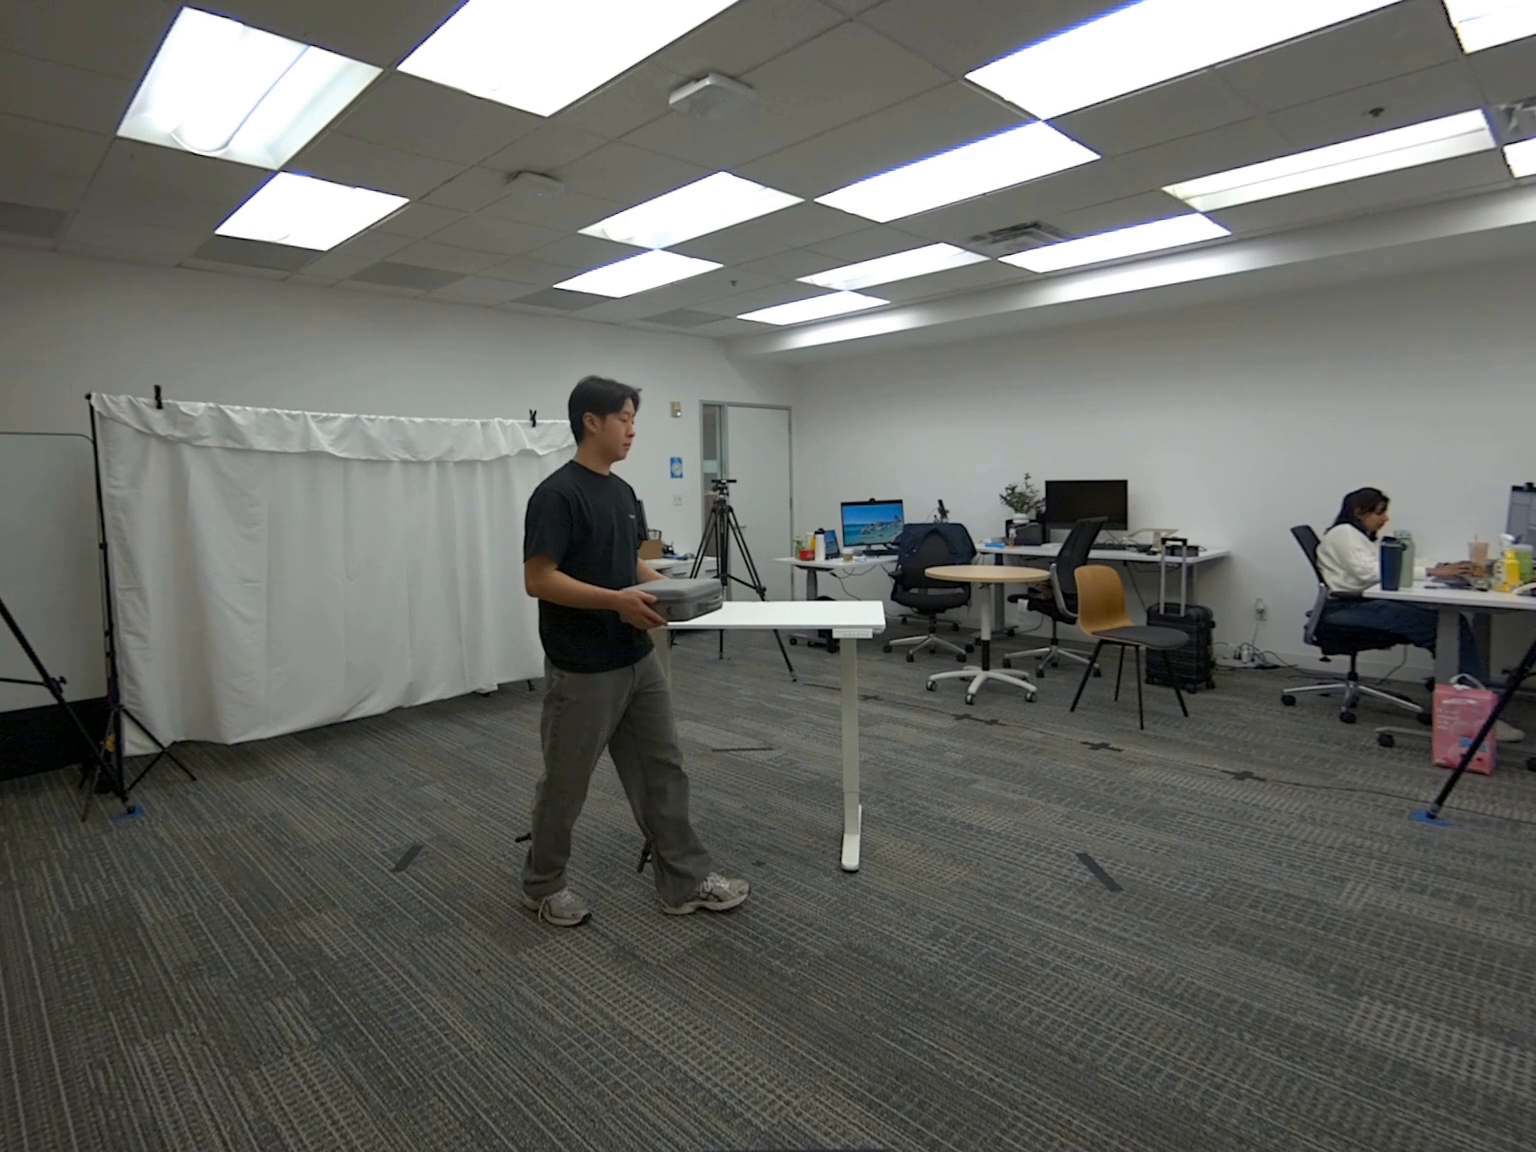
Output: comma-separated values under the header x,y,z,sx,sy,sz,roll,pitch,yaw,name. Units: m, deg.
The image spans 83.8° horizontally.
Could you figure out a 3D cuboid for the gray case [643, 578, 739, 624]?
x,y,z,sx,sy,sz,roll,pitch,yaw,name
-0.282,0.071,2.618,0.294,0.103,0.257,-1,5,29,gray case
